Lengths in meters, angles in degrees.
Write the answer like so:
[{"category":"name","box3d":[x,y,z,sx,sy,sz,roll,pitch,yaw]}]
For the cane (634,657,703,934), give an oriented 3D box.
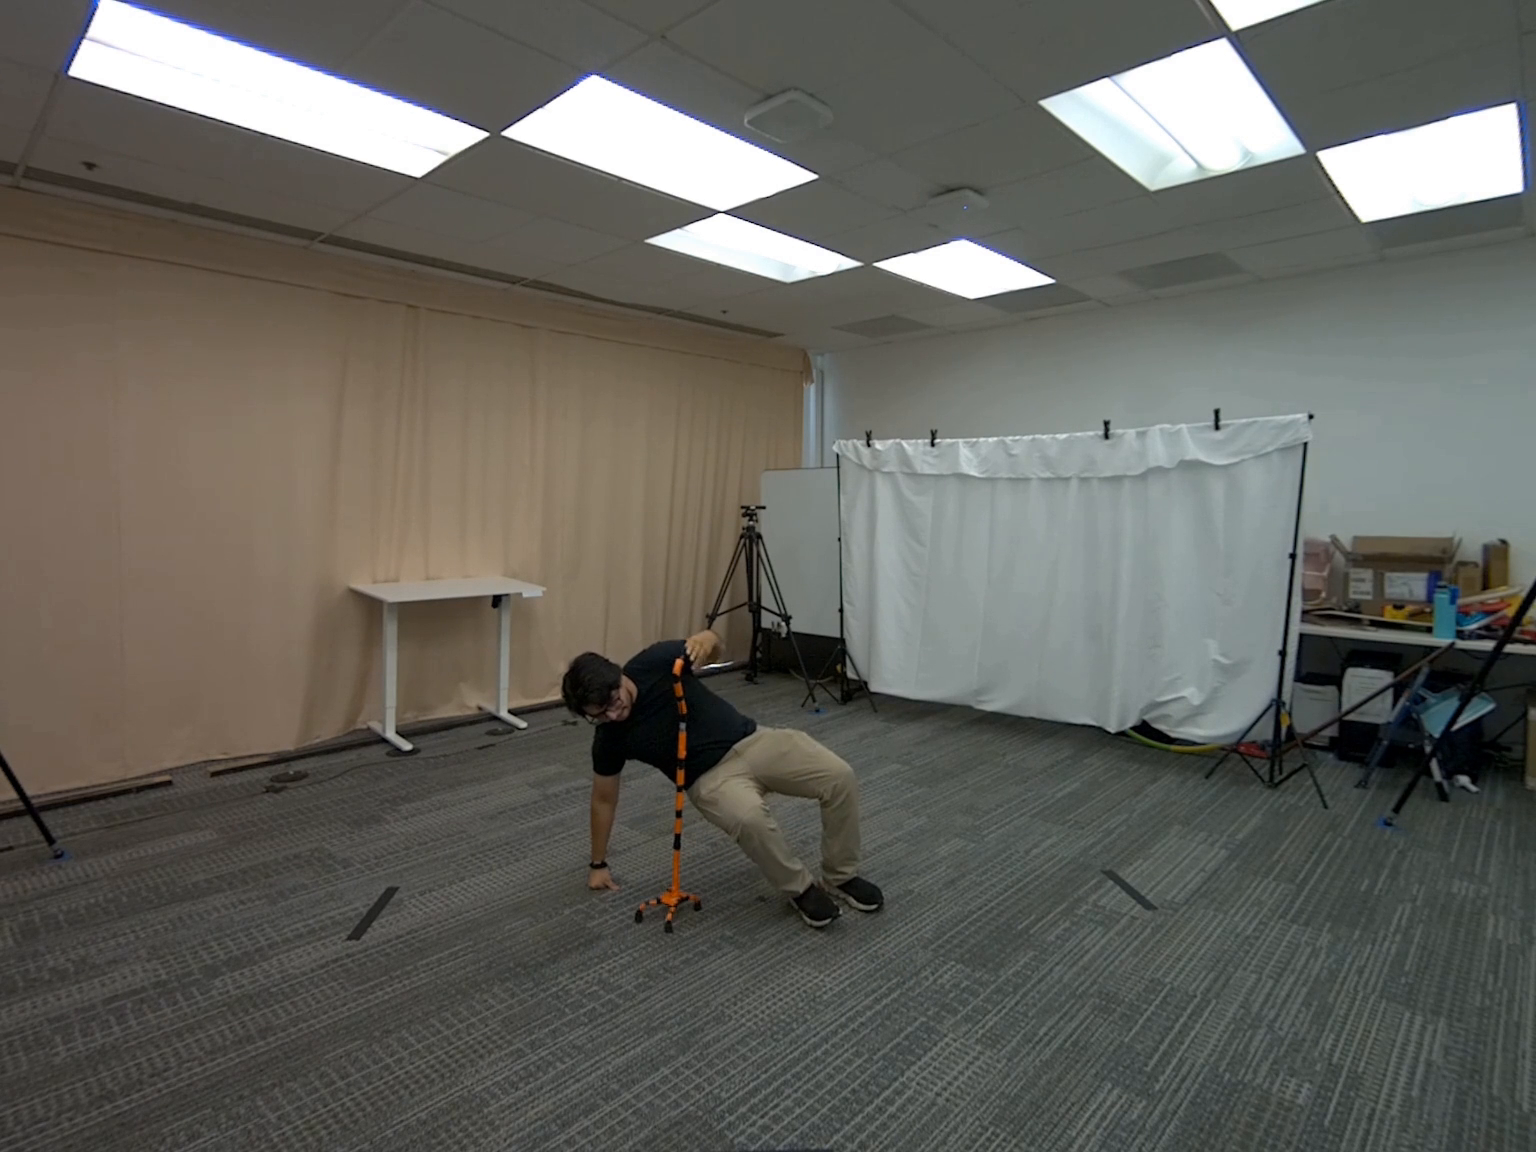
[{"category":"cane","box3d":[-0.311,0.709,2.822,0.156,0.905,0.201,7,6,32]}]
